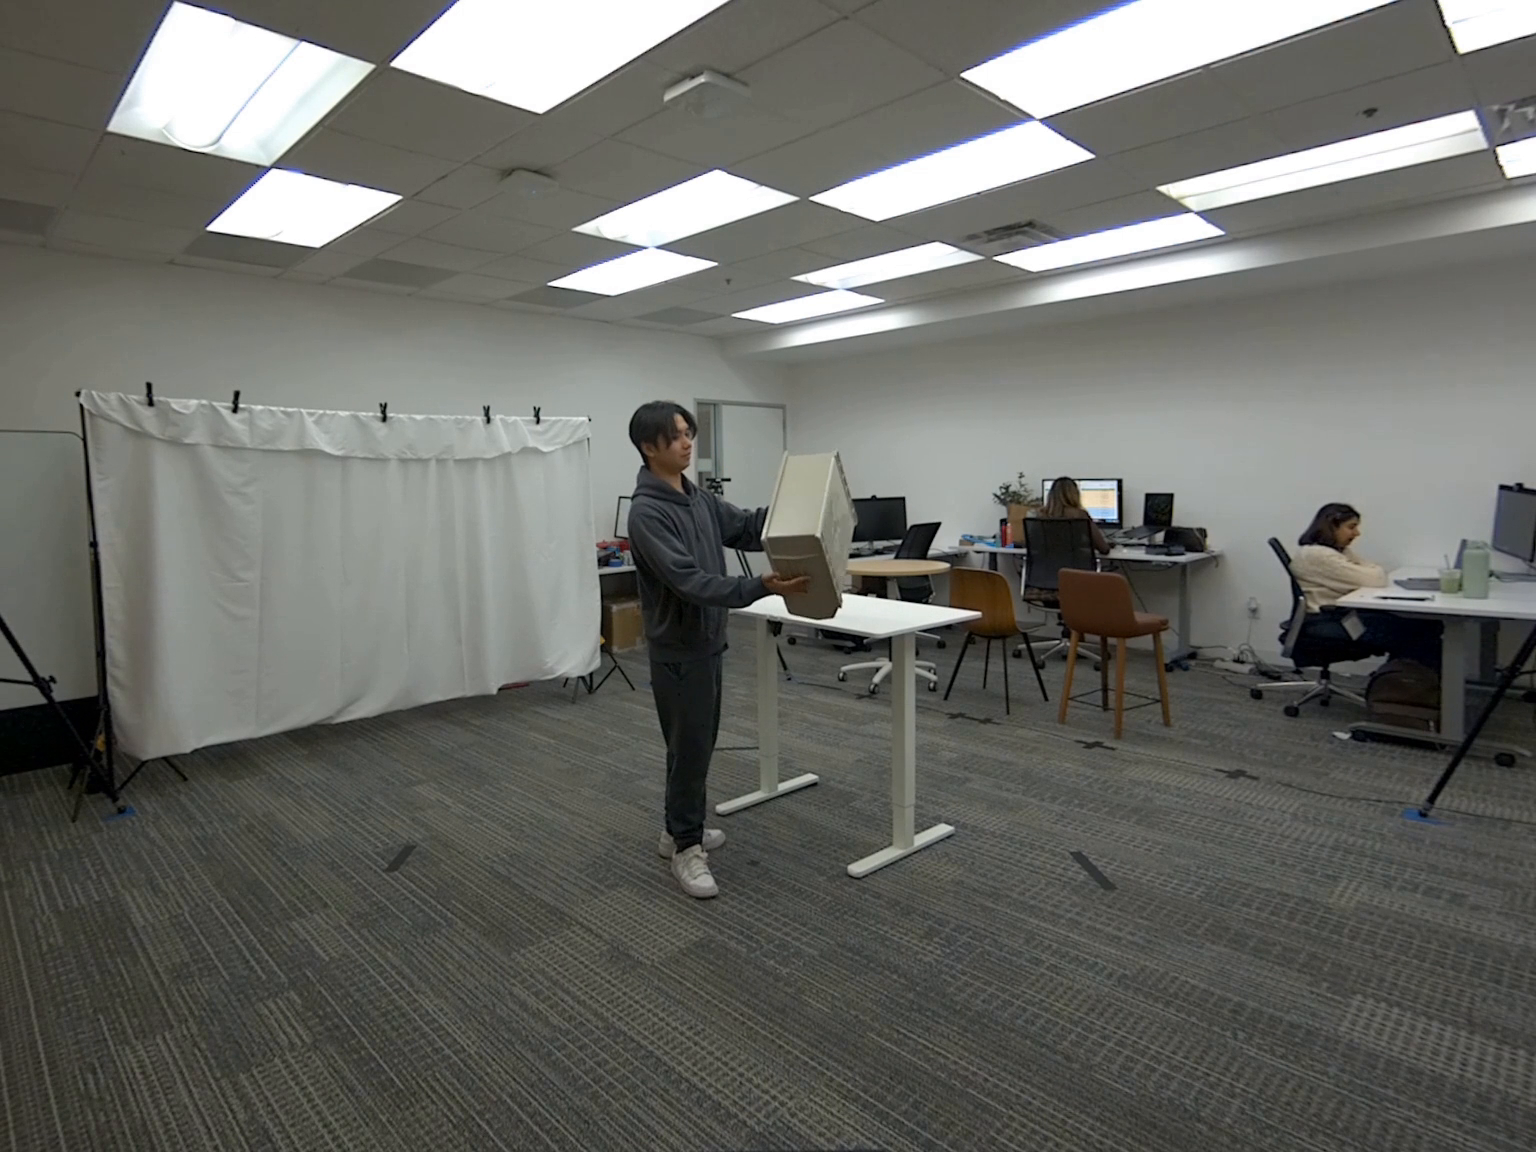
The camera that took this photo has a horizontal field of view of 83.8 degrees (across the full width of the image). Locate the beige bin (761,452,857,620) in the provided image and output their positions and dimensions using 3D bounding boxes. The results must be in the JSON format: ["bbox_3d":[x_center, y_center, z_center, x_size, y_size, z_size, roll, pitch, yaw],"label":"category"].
[{"bbox_3d":[0.145,-0.139,2.775,0.192,0.364,0.429,-3,43,20],"label":"beige bin"}]
